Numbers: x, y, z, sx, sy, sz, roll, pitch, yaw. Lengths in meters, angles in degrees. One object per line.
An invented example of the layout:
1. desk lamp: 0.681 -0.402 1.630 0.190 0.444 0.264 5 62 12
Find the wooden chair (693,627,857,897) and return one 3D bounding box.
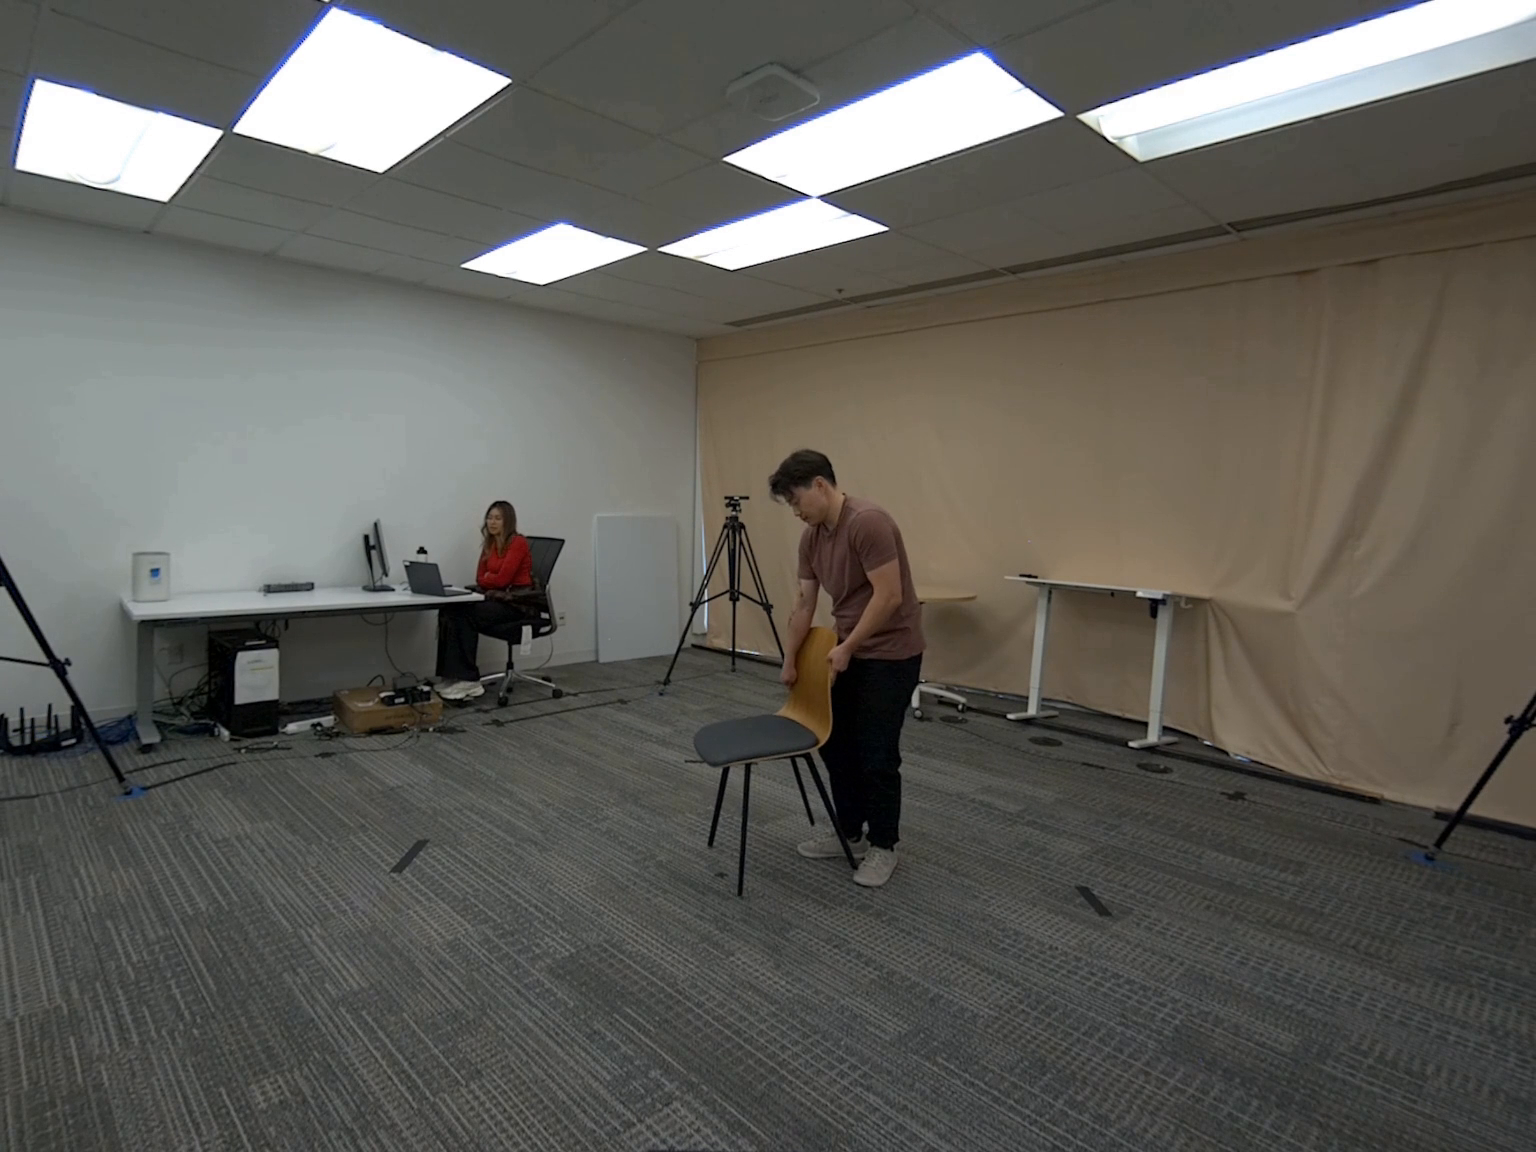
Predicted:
1. wooden chair: -0.008 0.647 3.155 0.517 0.874 0.485 -1 5 -16
